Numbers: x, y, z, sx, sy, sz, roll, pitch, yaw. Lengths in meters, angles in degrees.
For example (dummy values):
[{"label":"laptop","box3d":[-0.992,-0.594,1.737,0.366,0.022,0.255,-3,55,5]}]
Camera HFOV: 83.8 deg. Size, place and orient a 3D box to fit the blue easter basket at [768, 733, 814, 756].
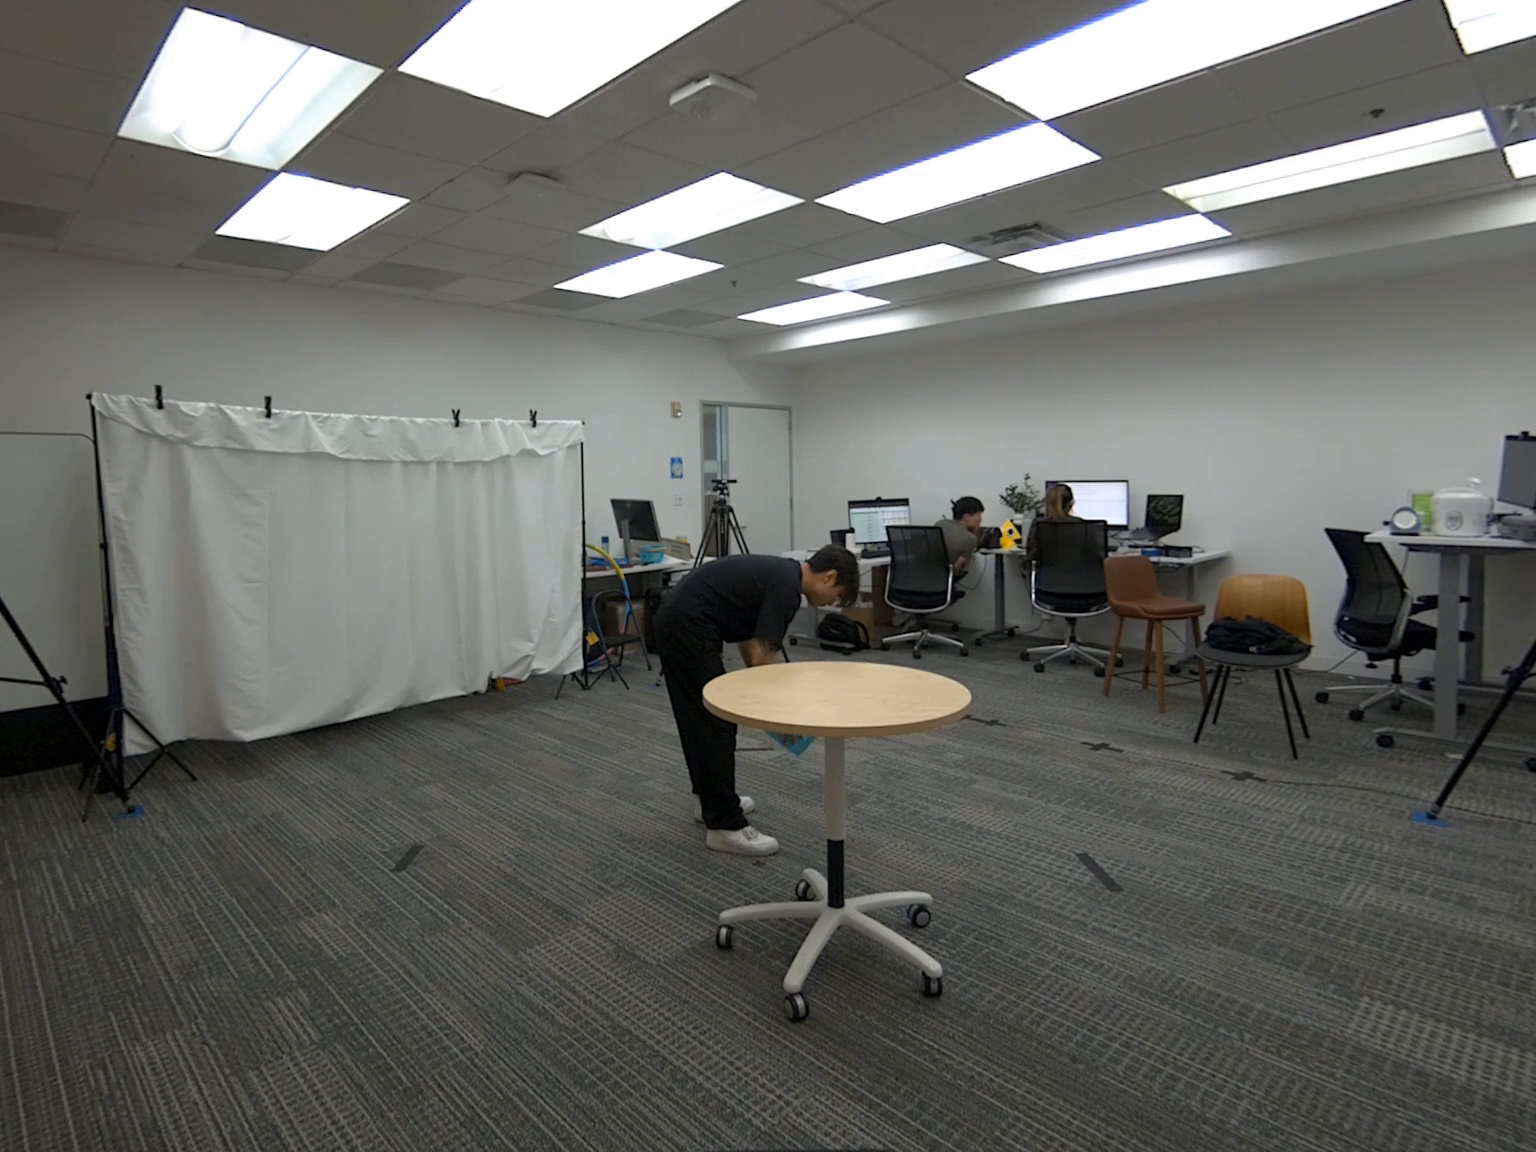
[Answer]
[{"label":"blue easter basket","box3d":[0.102,0.590,3.428,0.244,0.156,0.243,36,-4,1]}]
